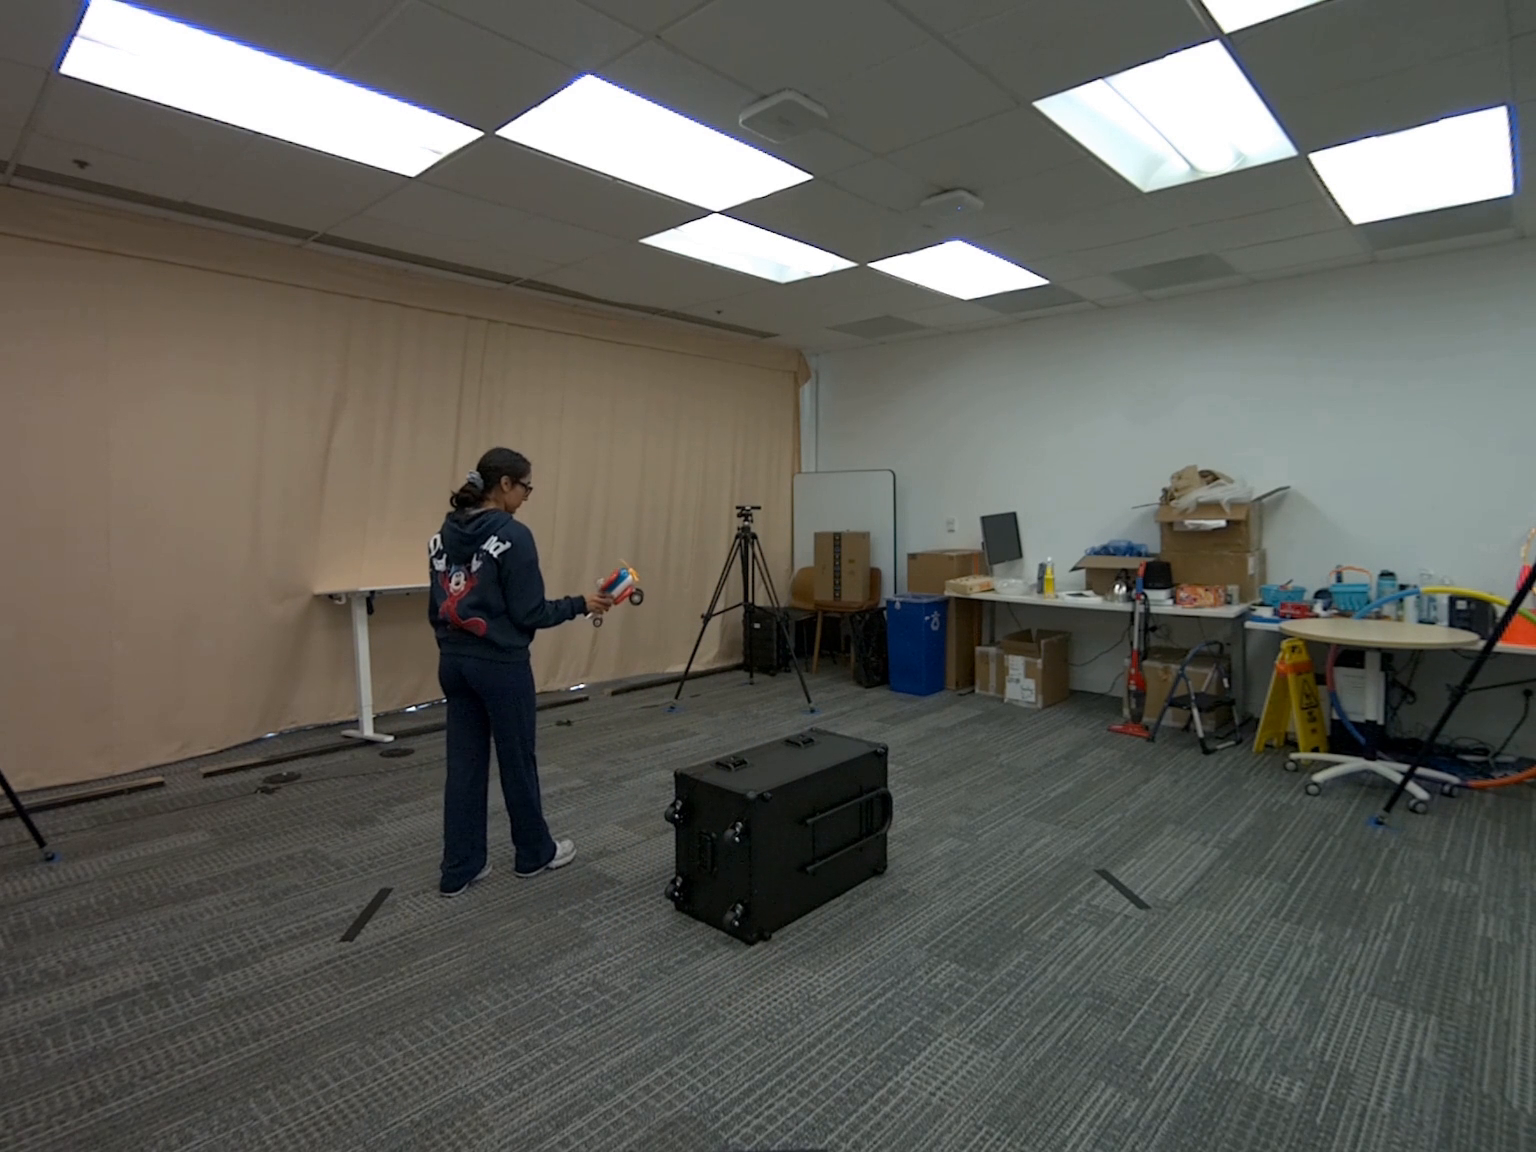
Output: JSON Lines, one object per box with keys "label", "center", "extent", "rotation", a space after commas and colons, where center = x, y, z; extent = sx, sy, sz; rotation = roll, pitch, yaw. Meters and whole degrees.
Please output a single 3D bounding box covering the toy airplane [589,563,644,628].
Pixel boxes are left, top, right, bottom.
{"label": "toy airplane", "center": [-0.585, 0.082, 3.220], "extent": [0.255, 0.155, 0.257], "rotation": [-33, 9, -30]}
